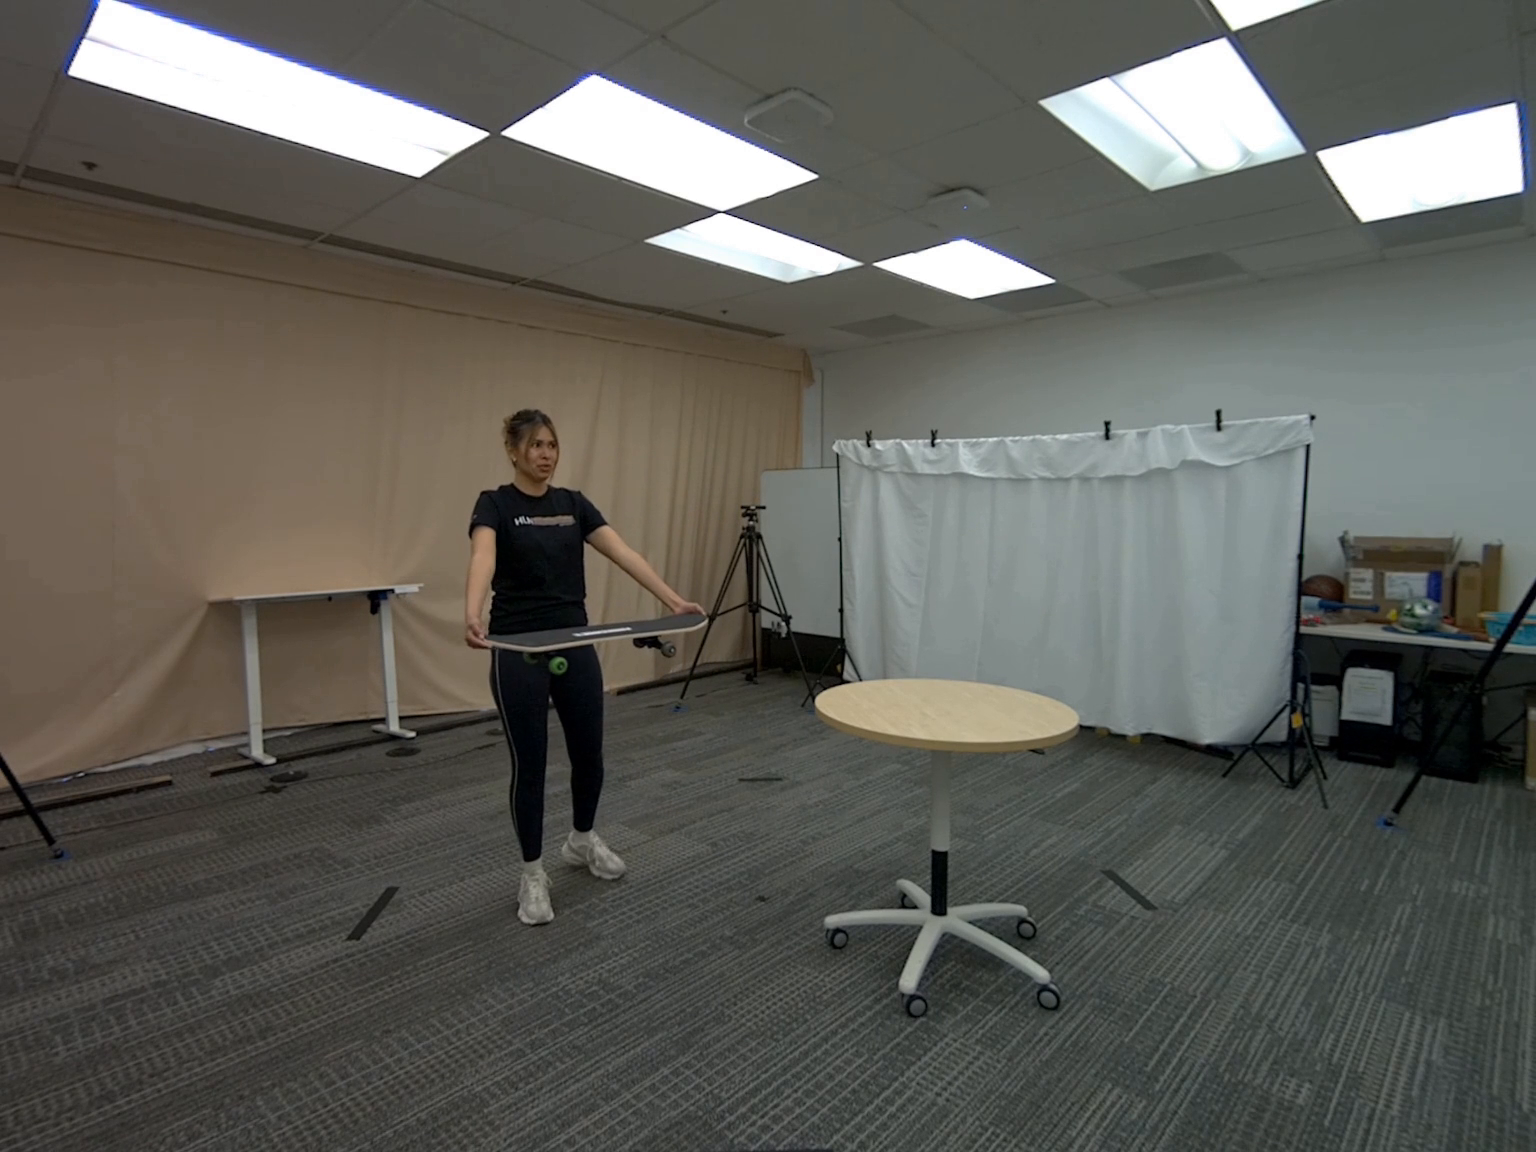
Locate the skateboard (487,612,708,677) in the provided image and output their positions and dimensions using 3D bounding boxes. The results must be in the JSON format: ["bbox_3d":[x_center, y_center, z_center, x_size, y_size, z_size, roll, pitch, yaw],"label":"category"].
[{"bbox_3d":[-0.500,0.208,2.584,0.762,0.110,0.200,-4,10,-41],"label":"skateboard"}]
